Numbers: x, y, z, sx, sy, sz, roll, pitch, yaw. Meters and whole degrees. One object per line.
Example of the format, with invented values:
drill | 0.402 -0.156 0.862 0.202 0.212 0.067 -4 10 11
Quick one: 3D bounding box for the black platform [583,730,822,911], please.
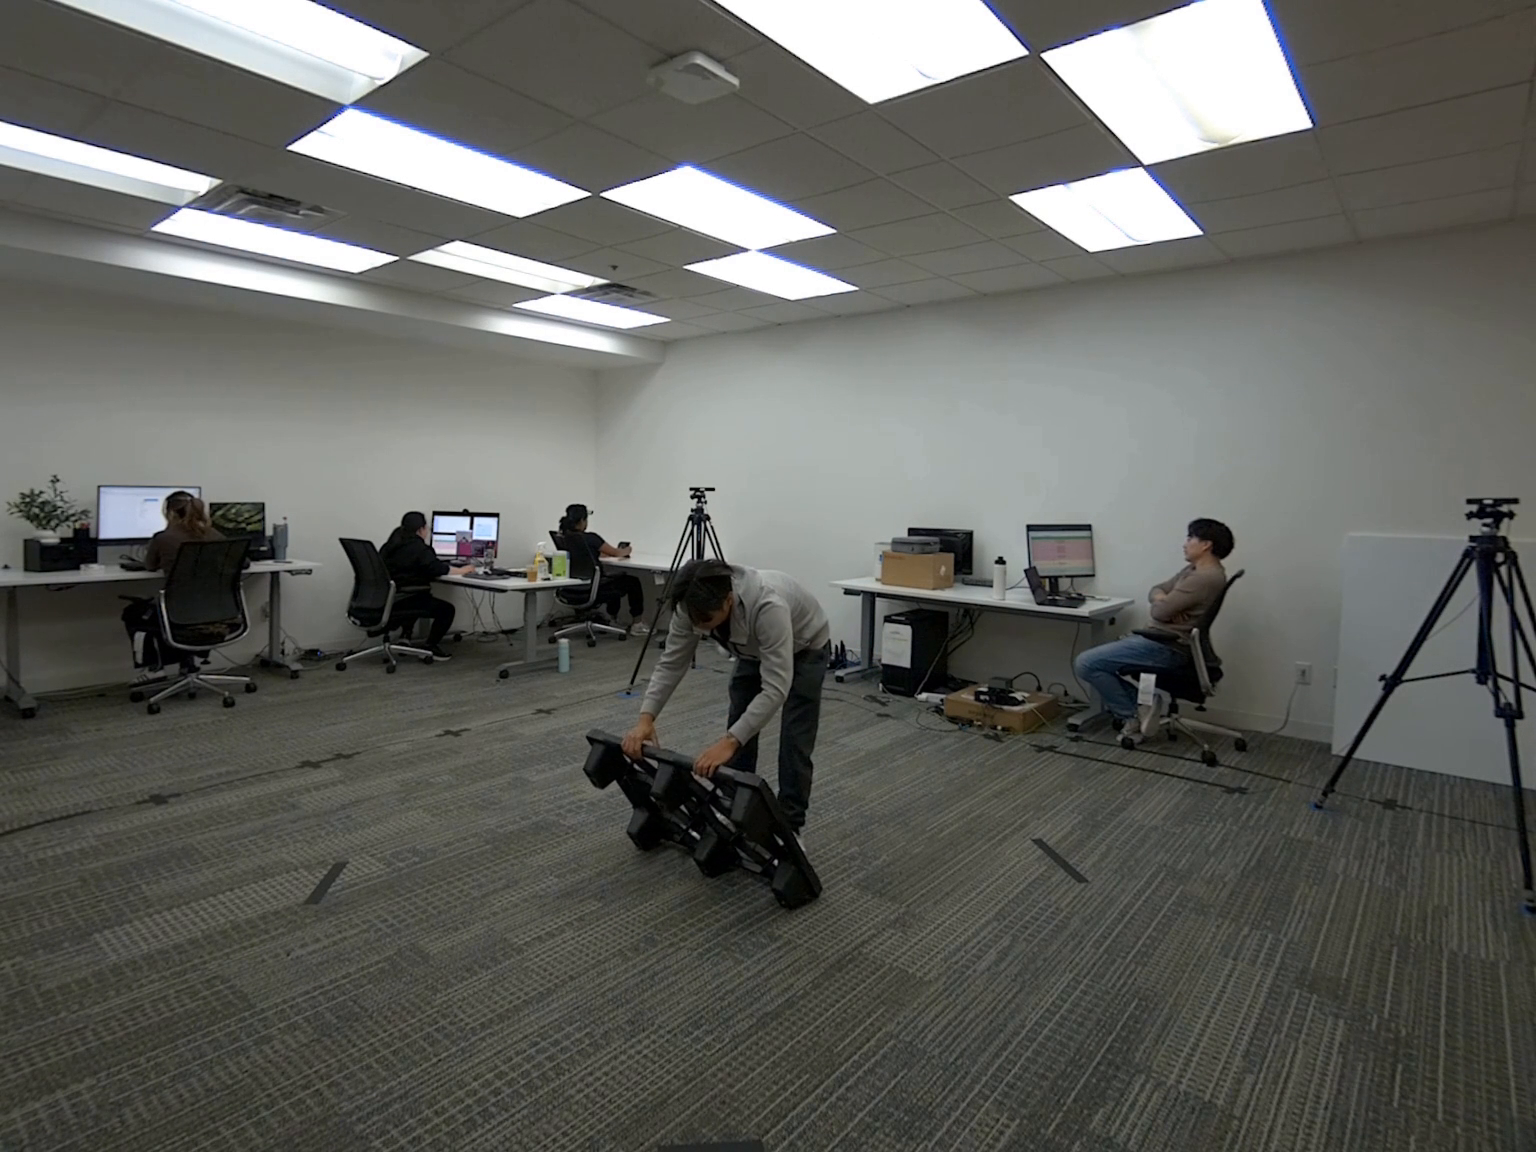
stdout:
black platform | -0.273 0.849 2.971 0.832 0.585 0.143 5 40 39
